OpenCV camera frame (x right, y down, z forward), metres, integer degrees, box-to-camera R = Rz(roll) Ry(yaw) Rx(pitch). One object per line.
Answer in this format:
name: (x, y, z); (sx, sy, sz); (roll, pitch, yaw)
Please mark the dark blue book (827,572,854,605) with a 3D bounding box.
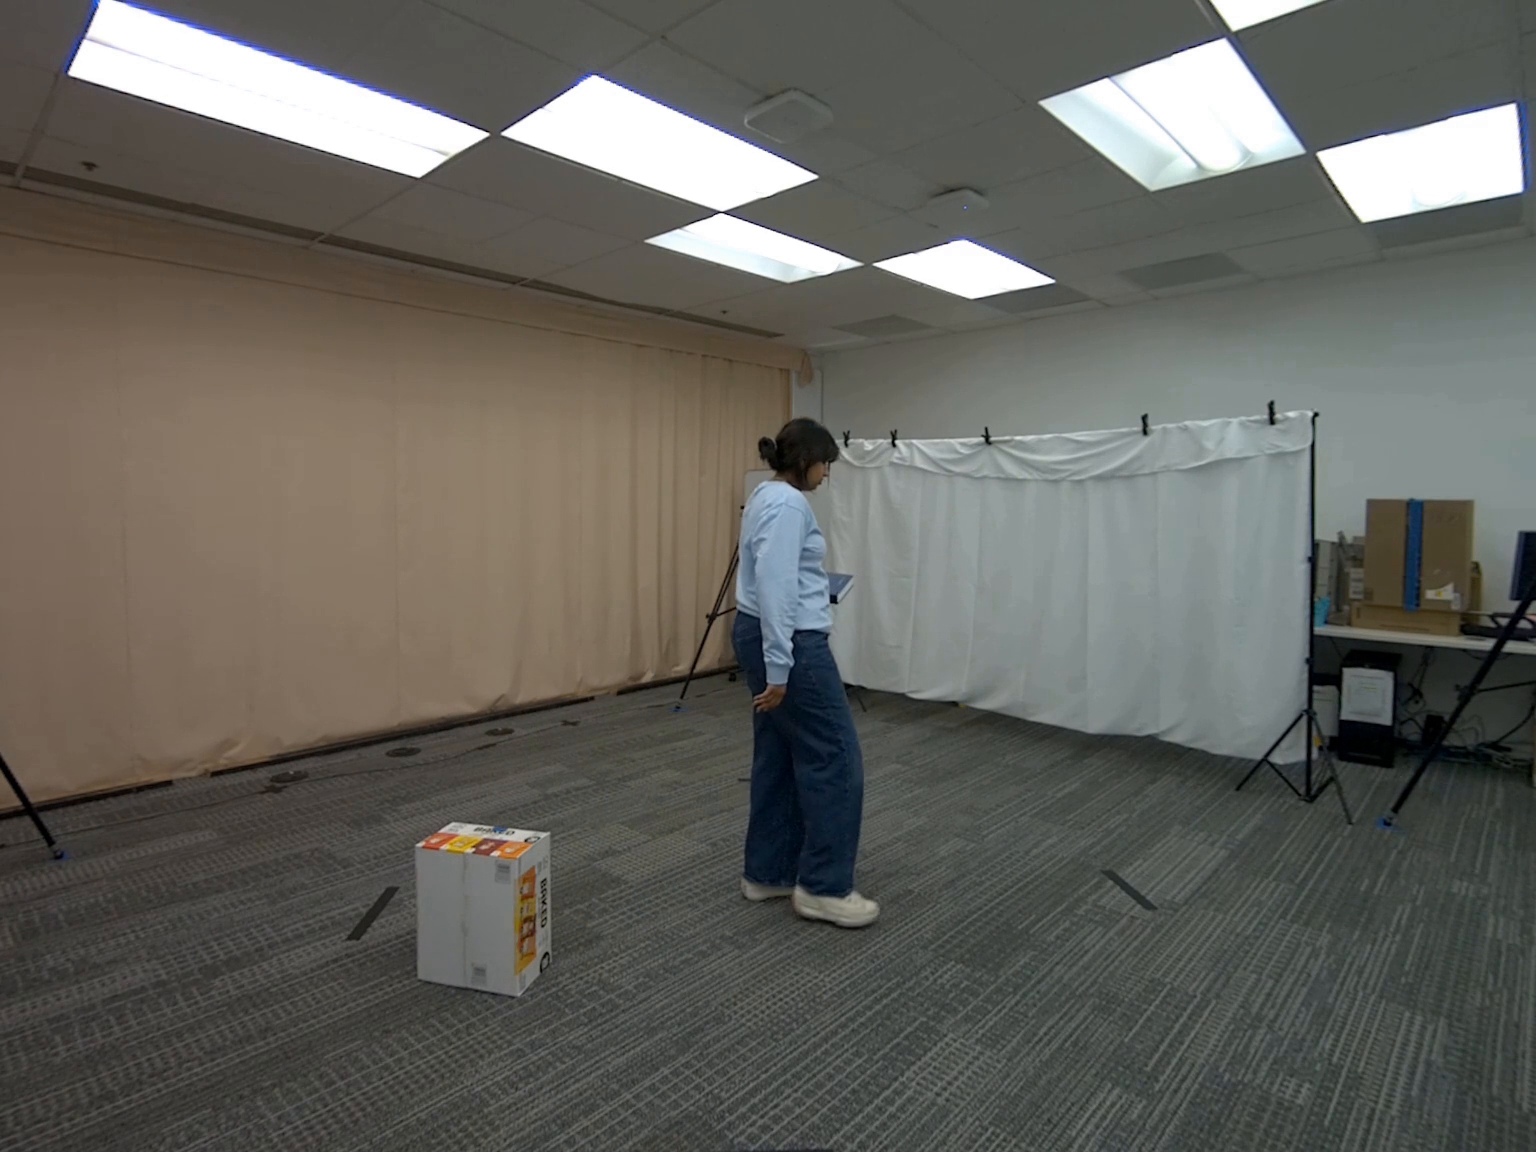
dark blue book: (0.197, 0.041, 3.266); (0.251, 0.044, 0.162); (6, 29, 25)
